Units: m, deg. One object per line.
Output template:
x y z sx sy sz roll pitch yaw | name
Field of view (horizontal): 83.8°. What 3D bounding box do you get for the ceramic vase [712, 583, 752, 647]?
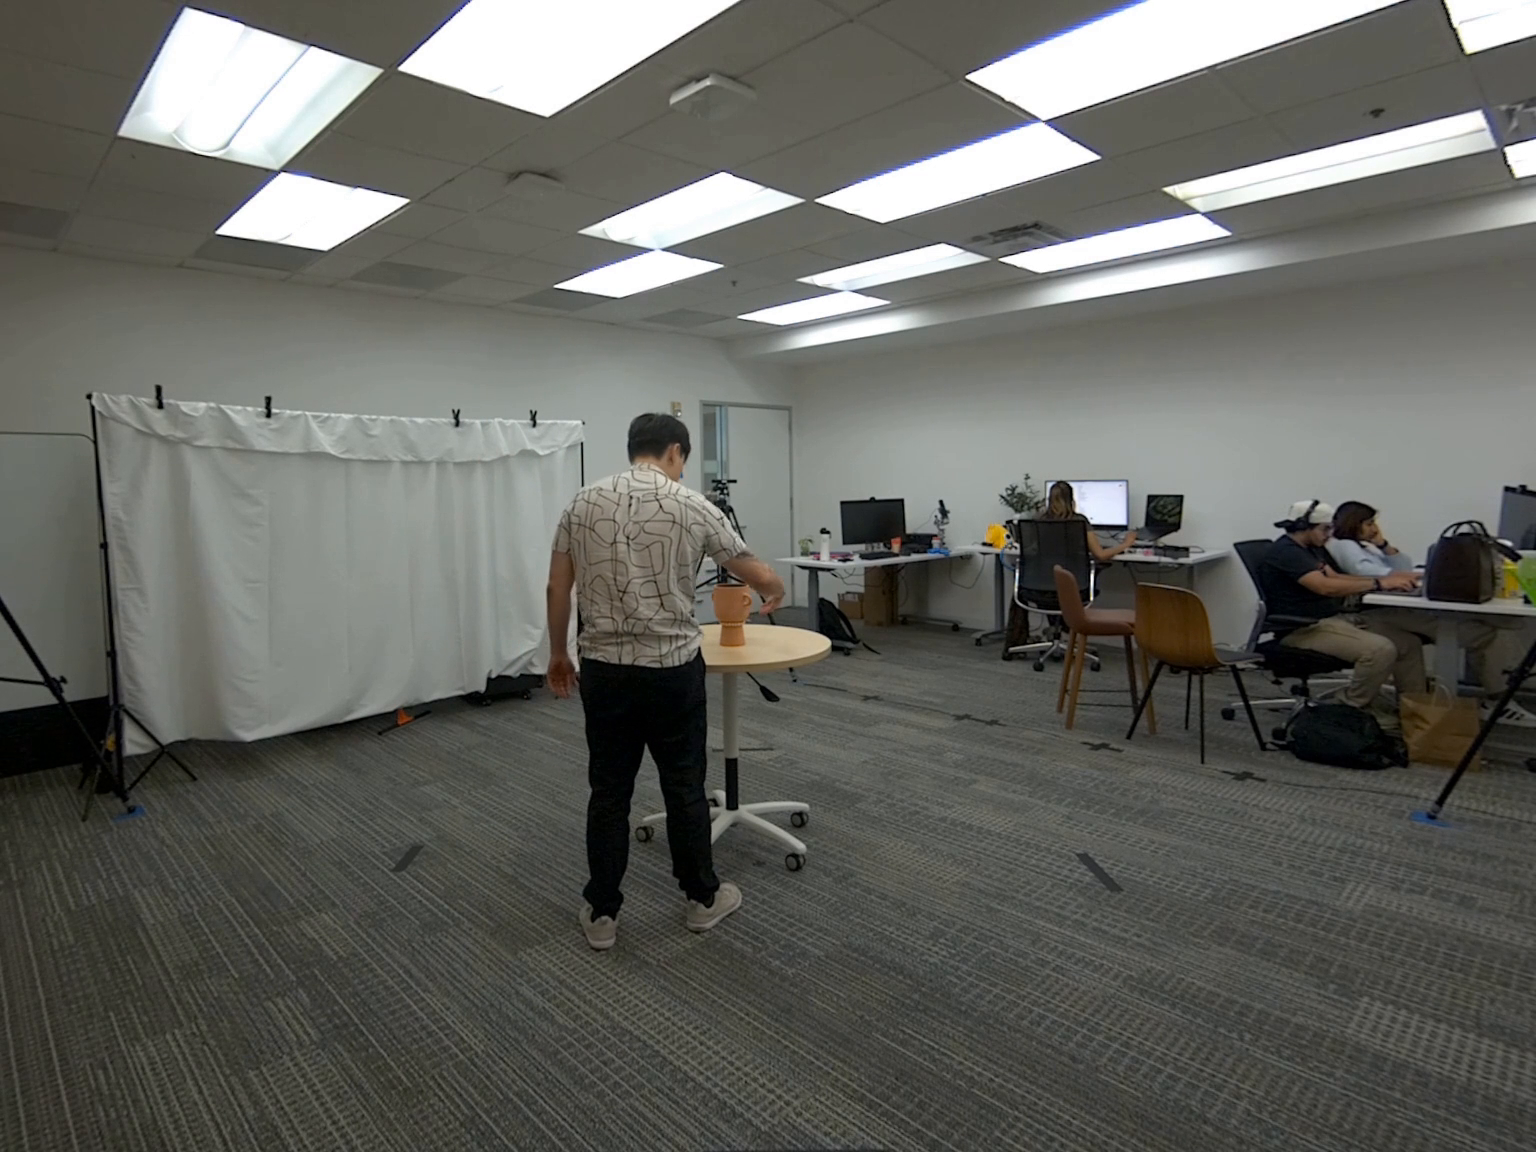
-0.133 0.147 3.191 0.133 0.219 0.161 -3 5 -9 | ceramic vase
